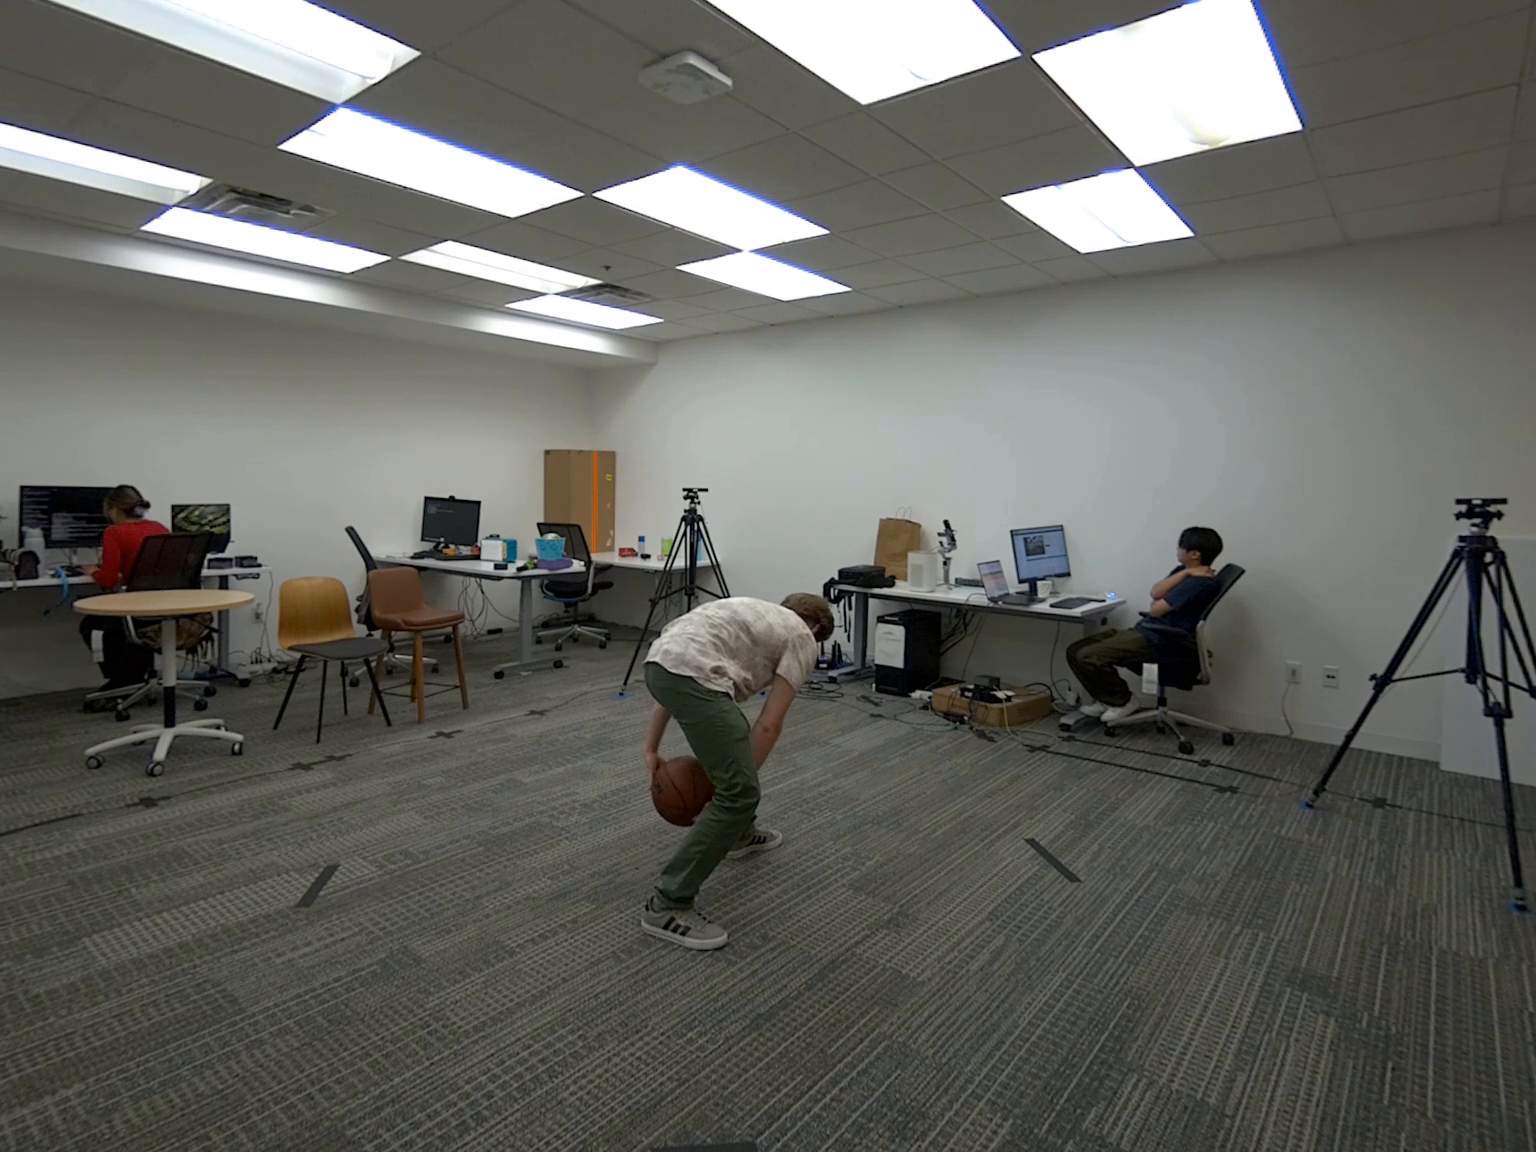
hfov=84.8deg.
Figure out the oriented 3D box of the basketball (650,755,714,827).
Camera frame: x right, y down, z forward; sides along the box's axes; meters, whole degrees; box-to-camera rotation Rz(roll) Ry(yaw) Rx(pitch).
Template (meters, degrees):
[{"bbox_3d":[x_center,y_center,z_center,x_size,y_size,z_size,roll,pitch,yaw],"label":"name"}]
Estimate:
[{"bbox_3d":[-0.293,0.740,2.978,0.235,0.235,0.237,1,4,-2],"label":"basketball"}]
